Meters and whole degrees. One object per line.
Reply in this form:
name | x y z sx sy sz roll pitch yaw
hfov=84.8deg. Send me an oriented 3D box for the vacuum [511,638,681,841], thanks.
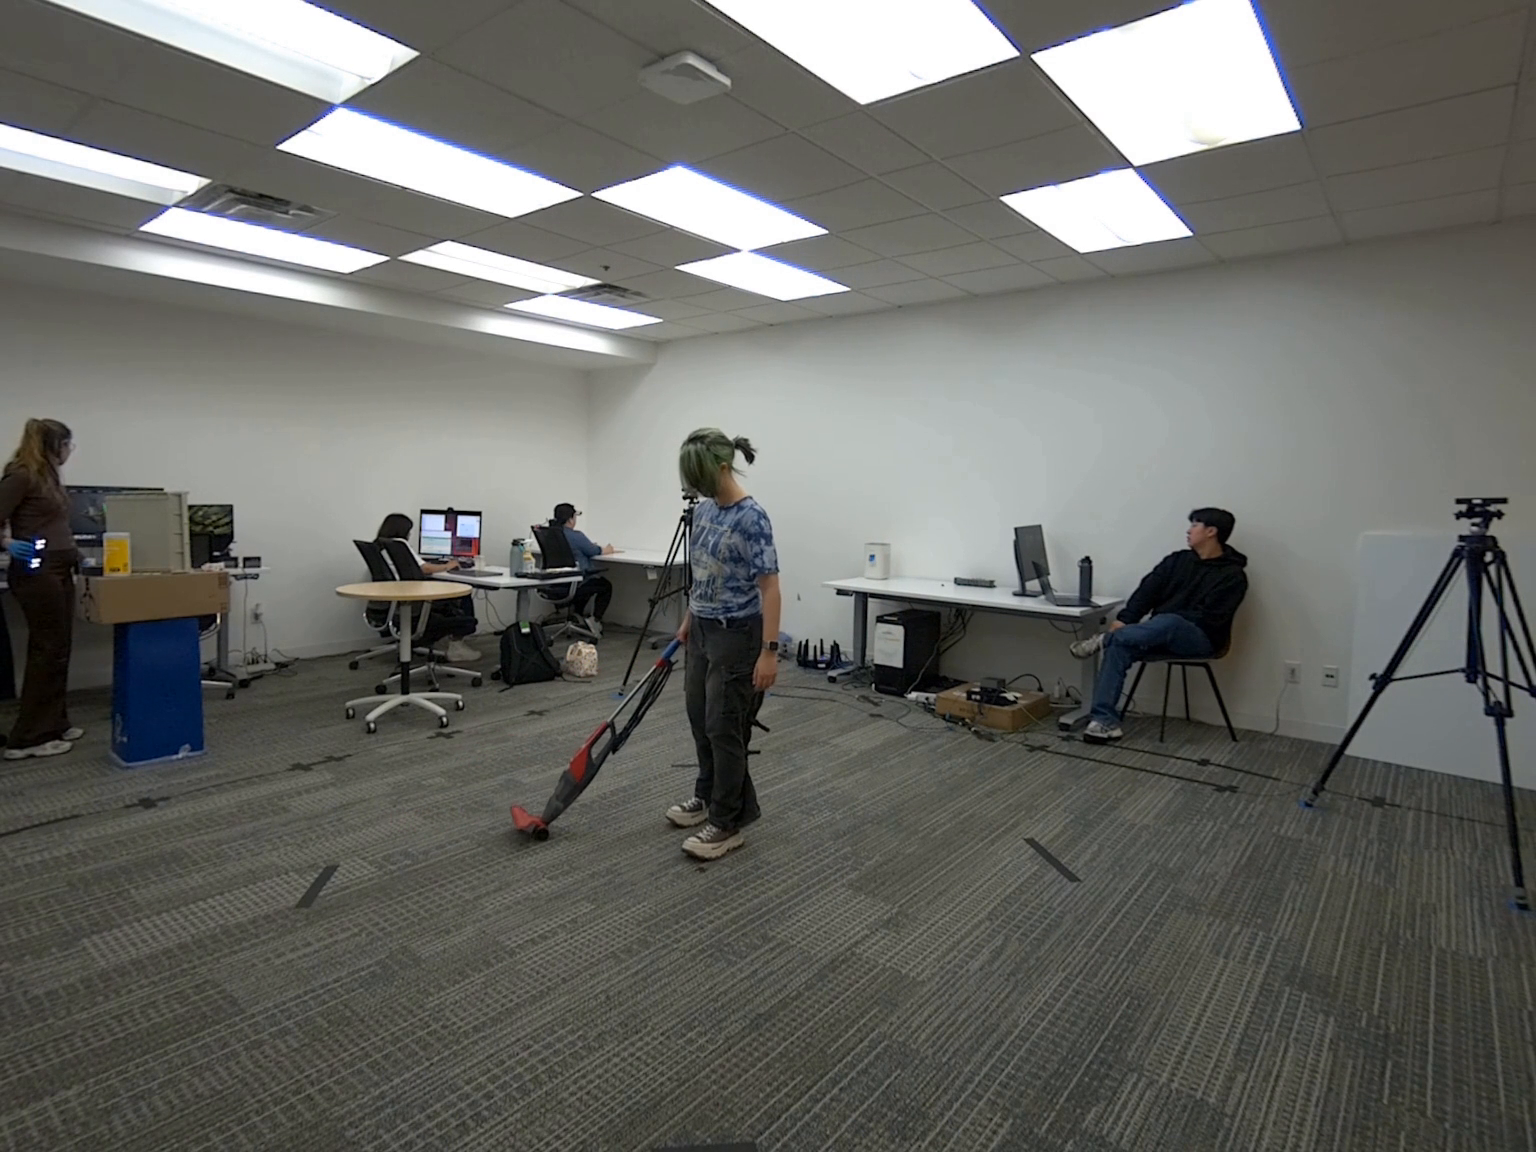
vacuum | -0.634 0.618 3.485 0.140 1.049 0.260 47 -14 -23
